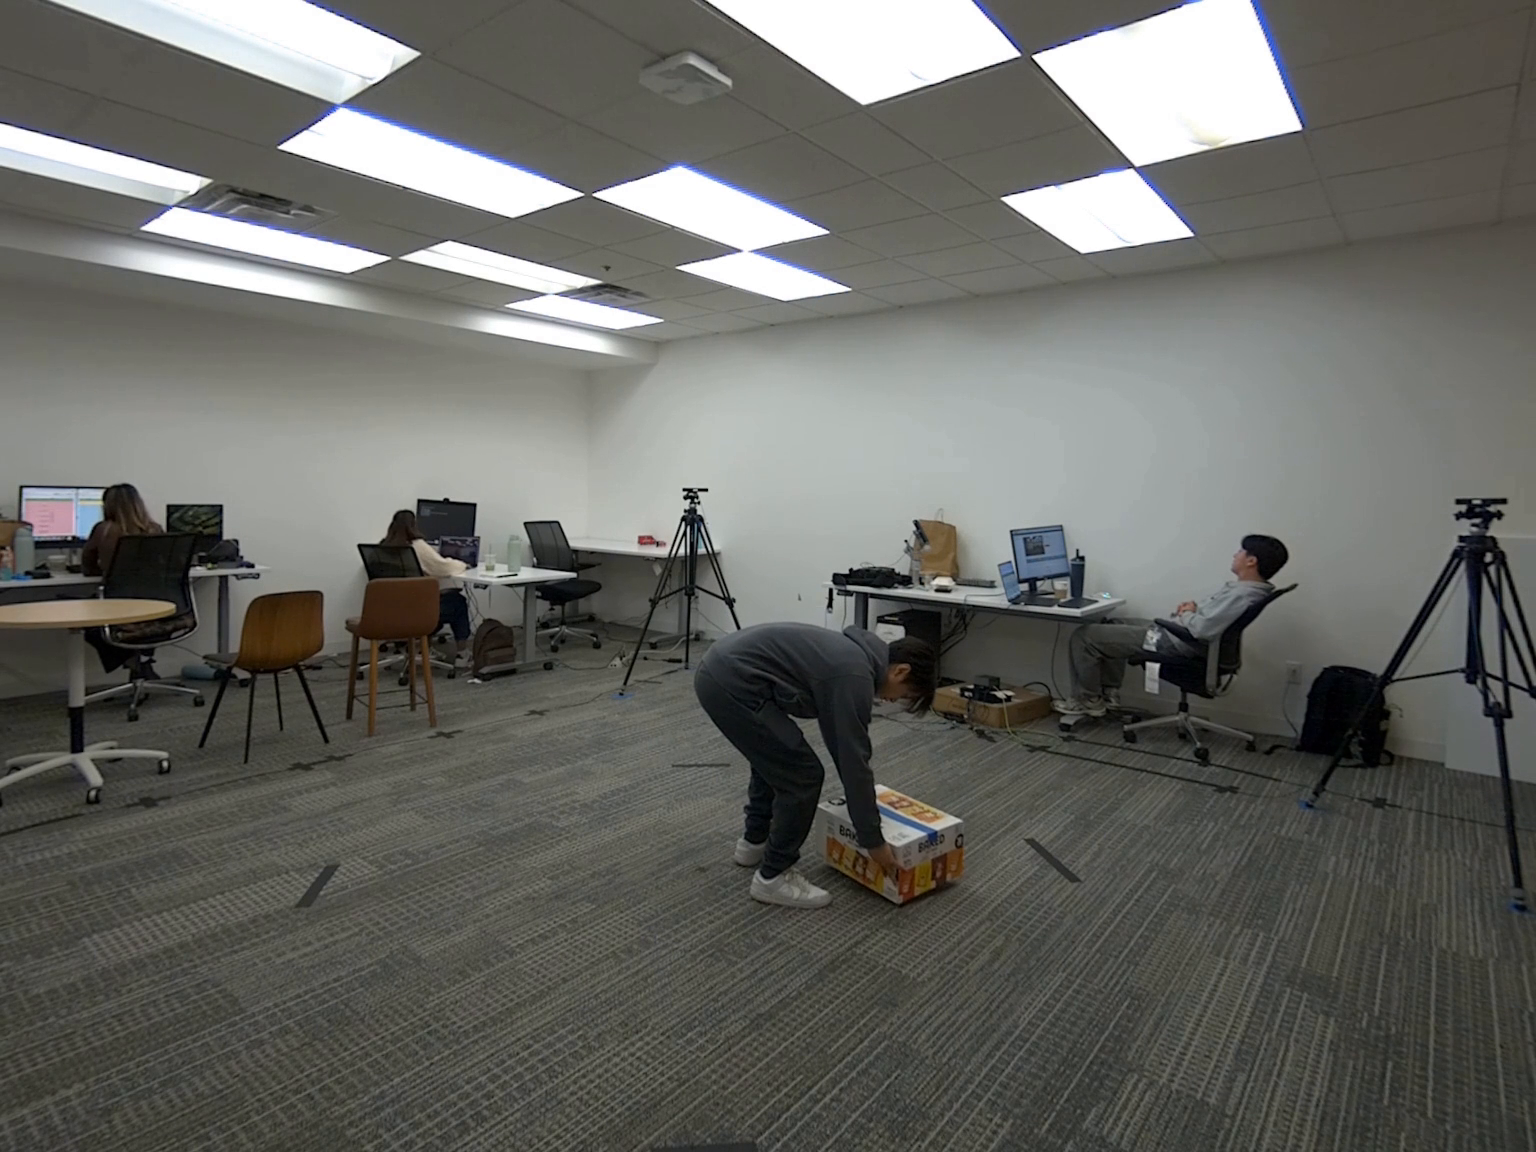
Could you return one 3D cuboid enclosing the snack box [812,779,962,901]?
[{"bbox_3d":[0.427,0.947,3.082,0.331,0.204,0.419,-6,10,-38],"label":"snack box"}]
